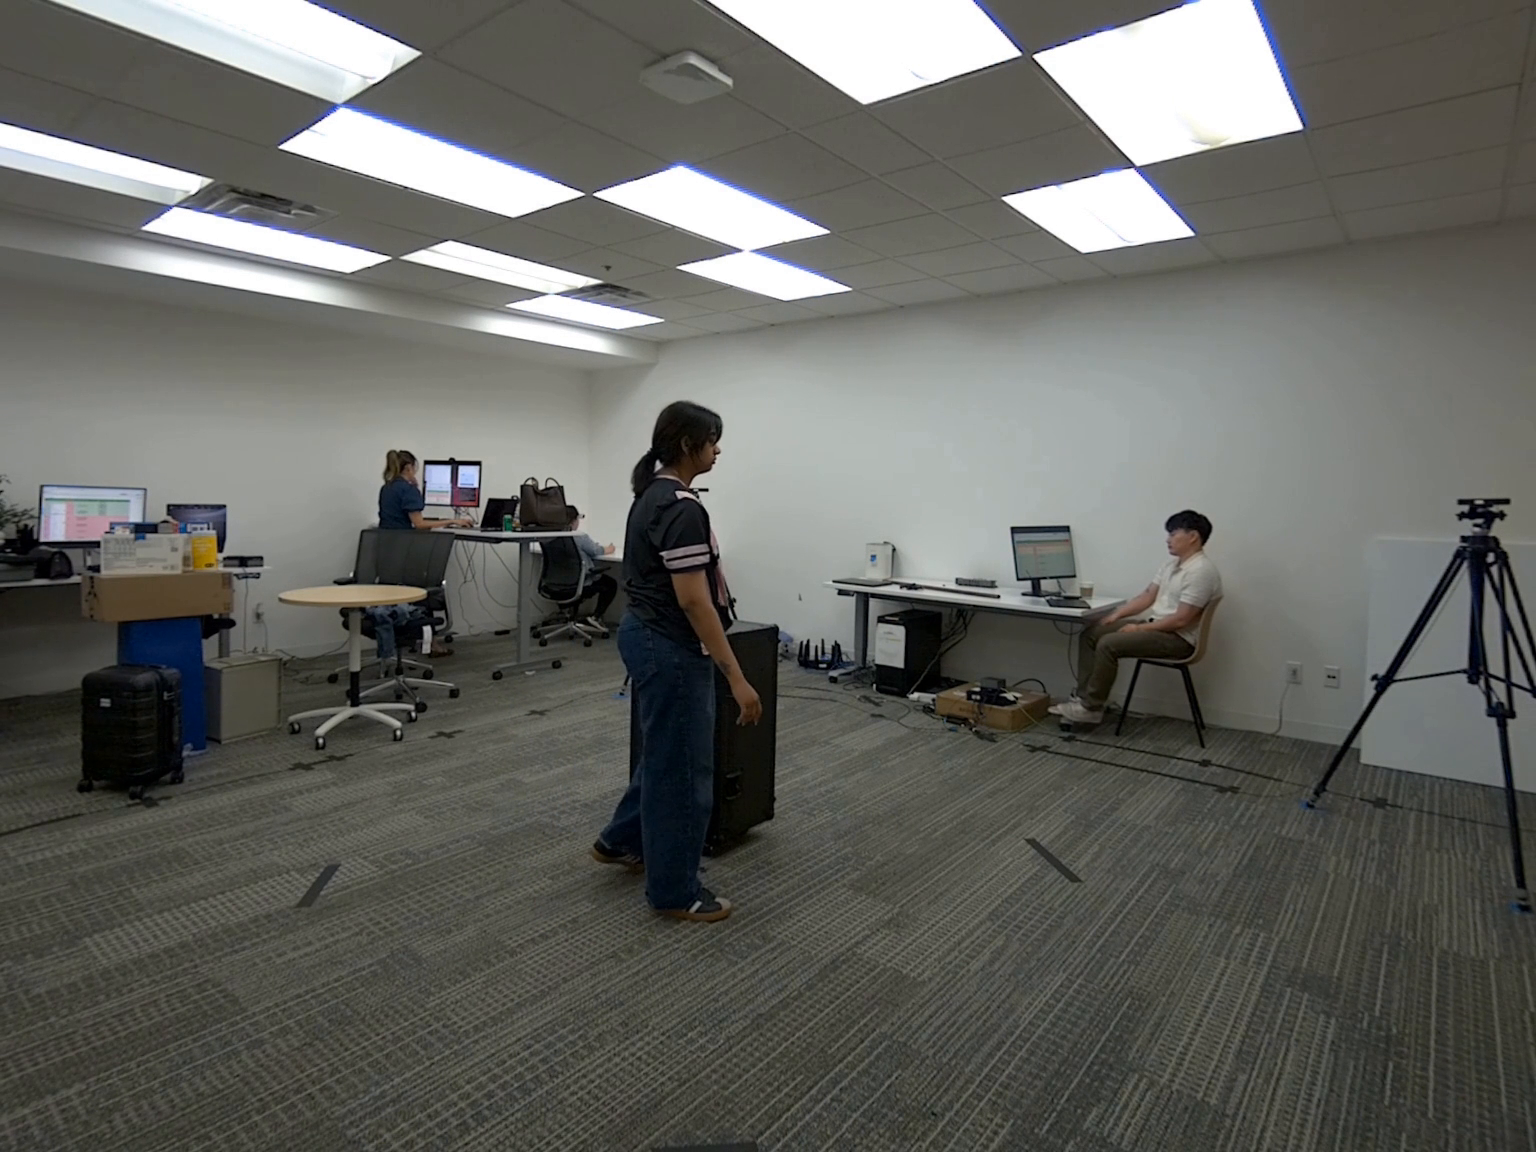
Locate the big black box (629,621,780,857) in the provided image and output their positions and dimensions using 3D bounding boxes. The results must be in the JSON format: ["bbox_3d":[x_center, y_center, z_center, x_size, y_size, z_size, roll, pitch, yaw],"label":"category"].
[{"bbox_3d":[-0.270,0.613,3.445,0.538,0.860,0.384,4,2,39],"label":"big black box"}]
